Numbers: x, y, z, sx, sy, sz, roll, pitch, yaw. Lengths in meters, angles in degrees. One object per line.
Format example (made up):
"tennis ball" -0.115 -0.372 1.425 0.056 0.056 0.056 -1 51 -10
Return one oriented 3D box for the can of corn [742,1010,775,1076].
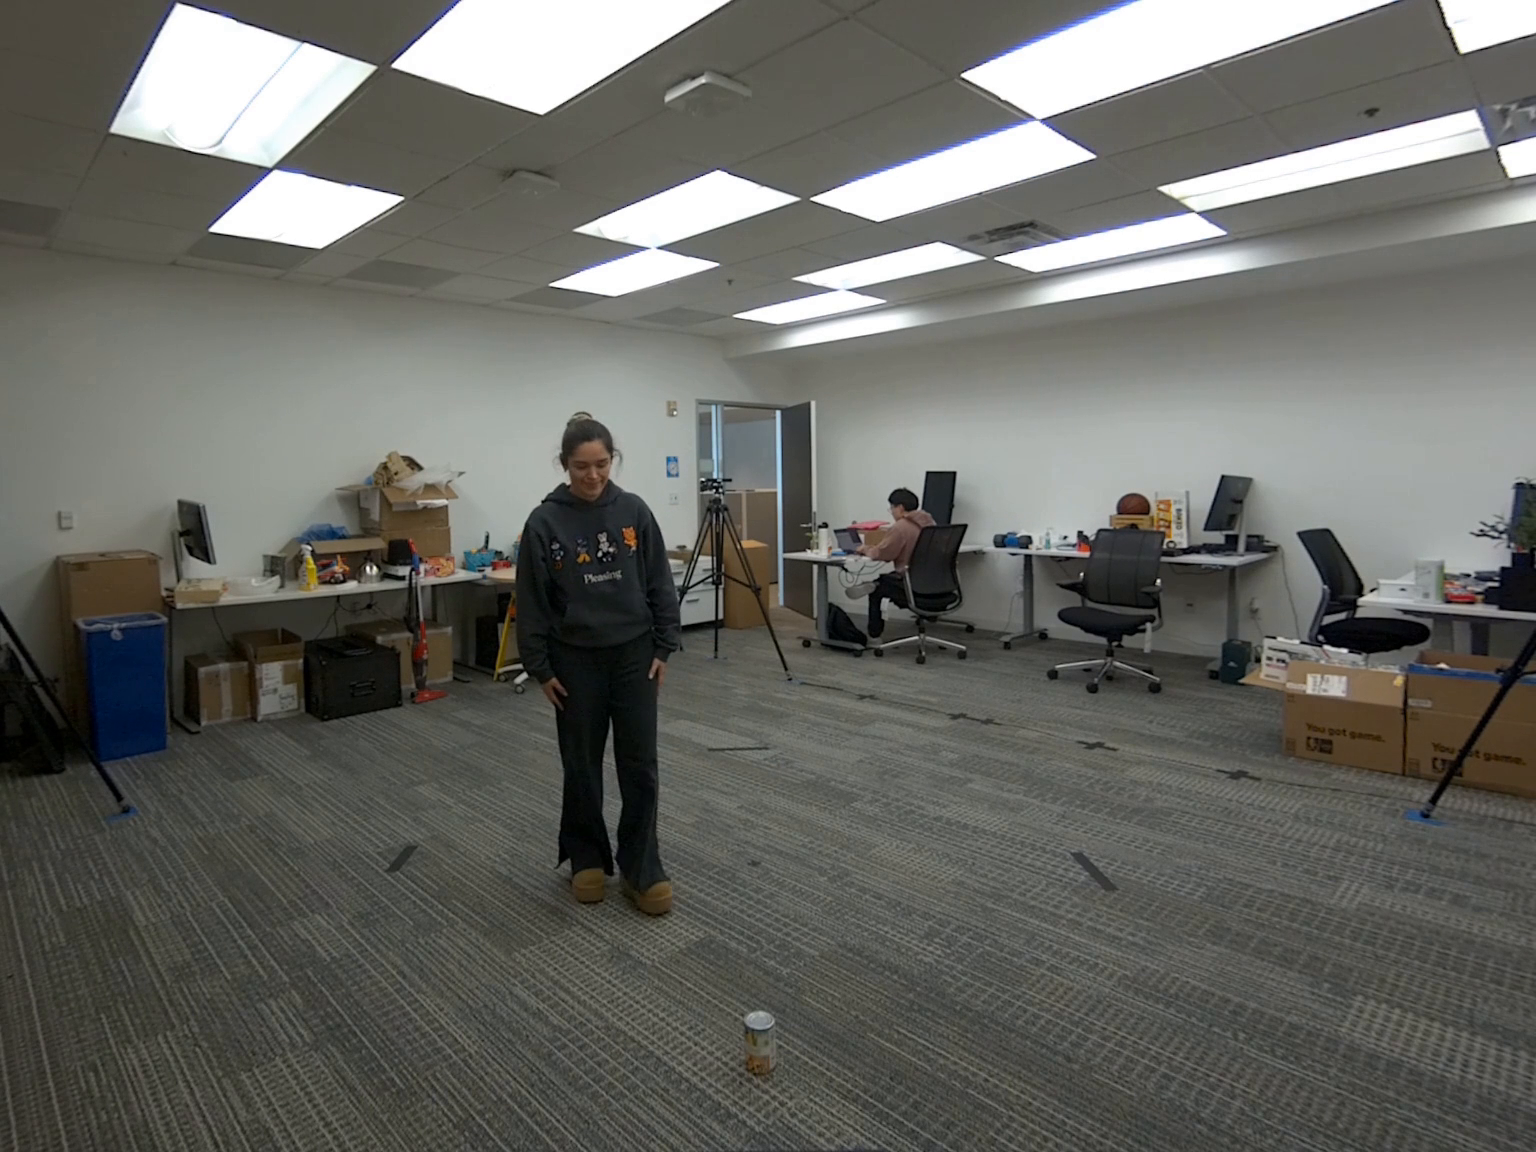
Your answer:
"can of corn" -0.013 1.120 2.025 0.074 0.111 0.074 1 3 -2
